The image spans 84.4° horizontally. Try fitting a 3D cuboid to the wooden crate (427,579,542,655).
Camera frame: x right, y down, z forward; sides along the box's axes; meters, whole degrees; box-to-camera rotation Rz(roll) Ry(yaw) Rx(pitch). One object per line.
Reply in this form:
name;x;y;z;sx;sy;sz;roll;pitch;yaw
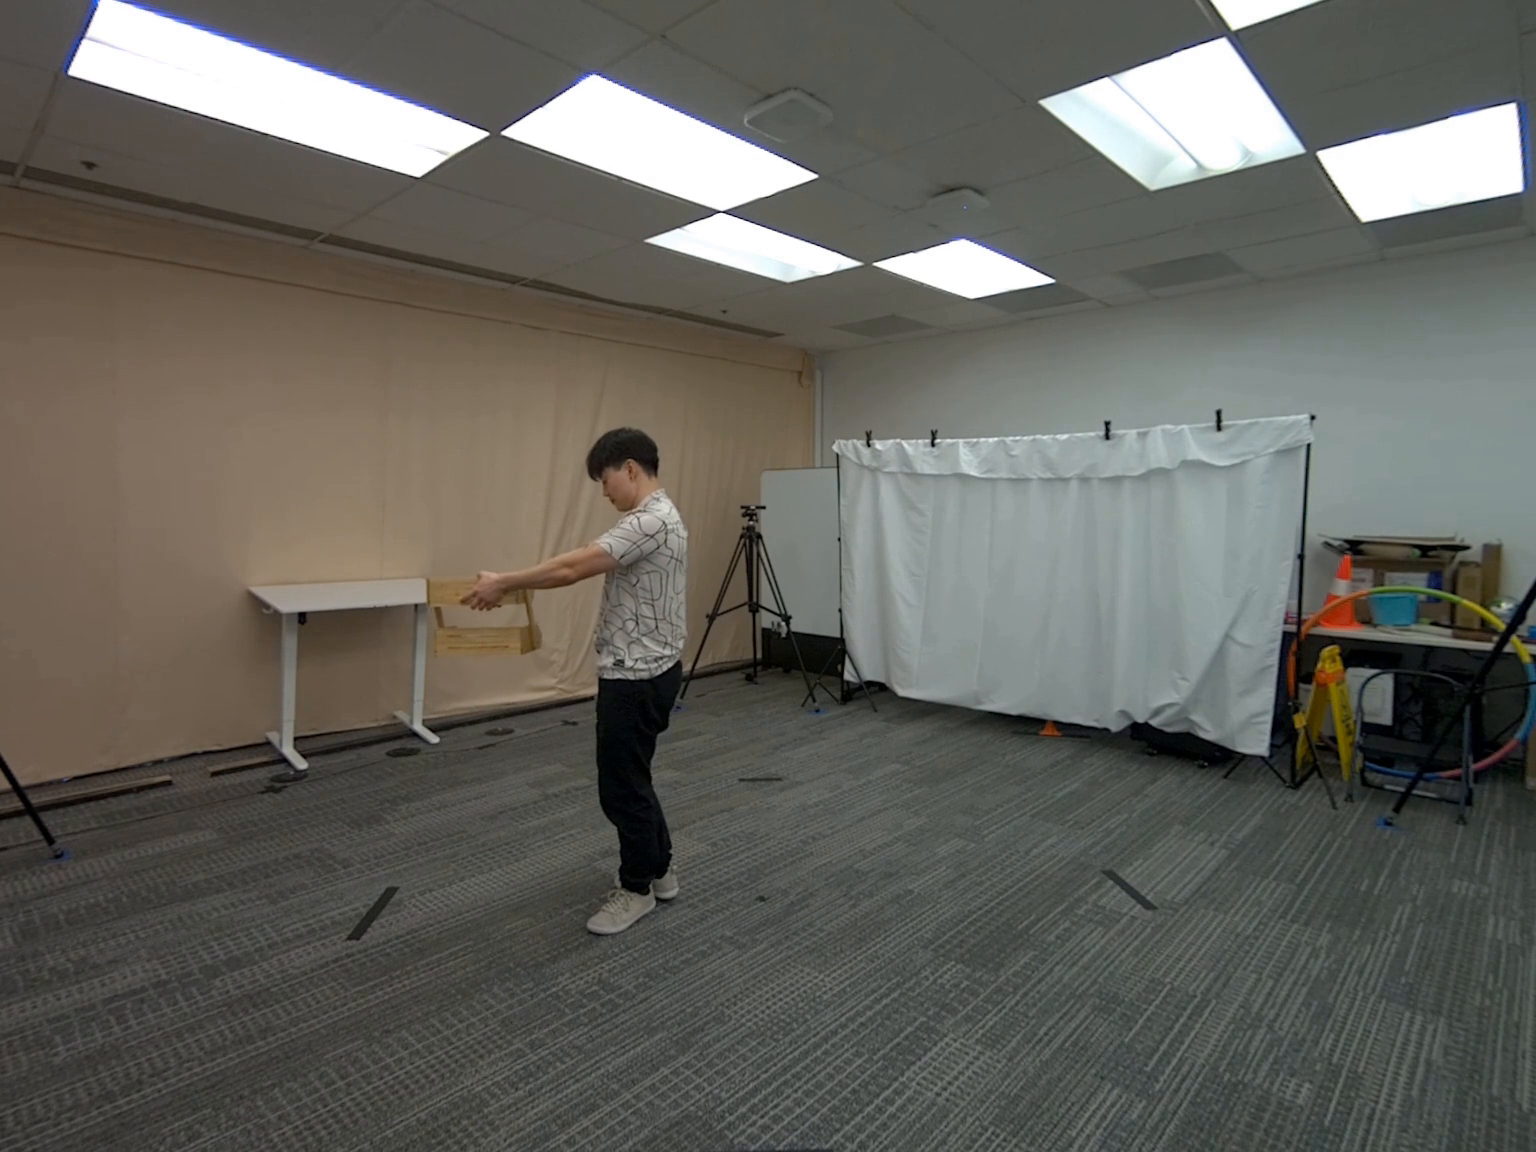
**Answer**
wooden crate;-0.961;0.128;2.879;0.325;0.273;0.302;-1;1;0
